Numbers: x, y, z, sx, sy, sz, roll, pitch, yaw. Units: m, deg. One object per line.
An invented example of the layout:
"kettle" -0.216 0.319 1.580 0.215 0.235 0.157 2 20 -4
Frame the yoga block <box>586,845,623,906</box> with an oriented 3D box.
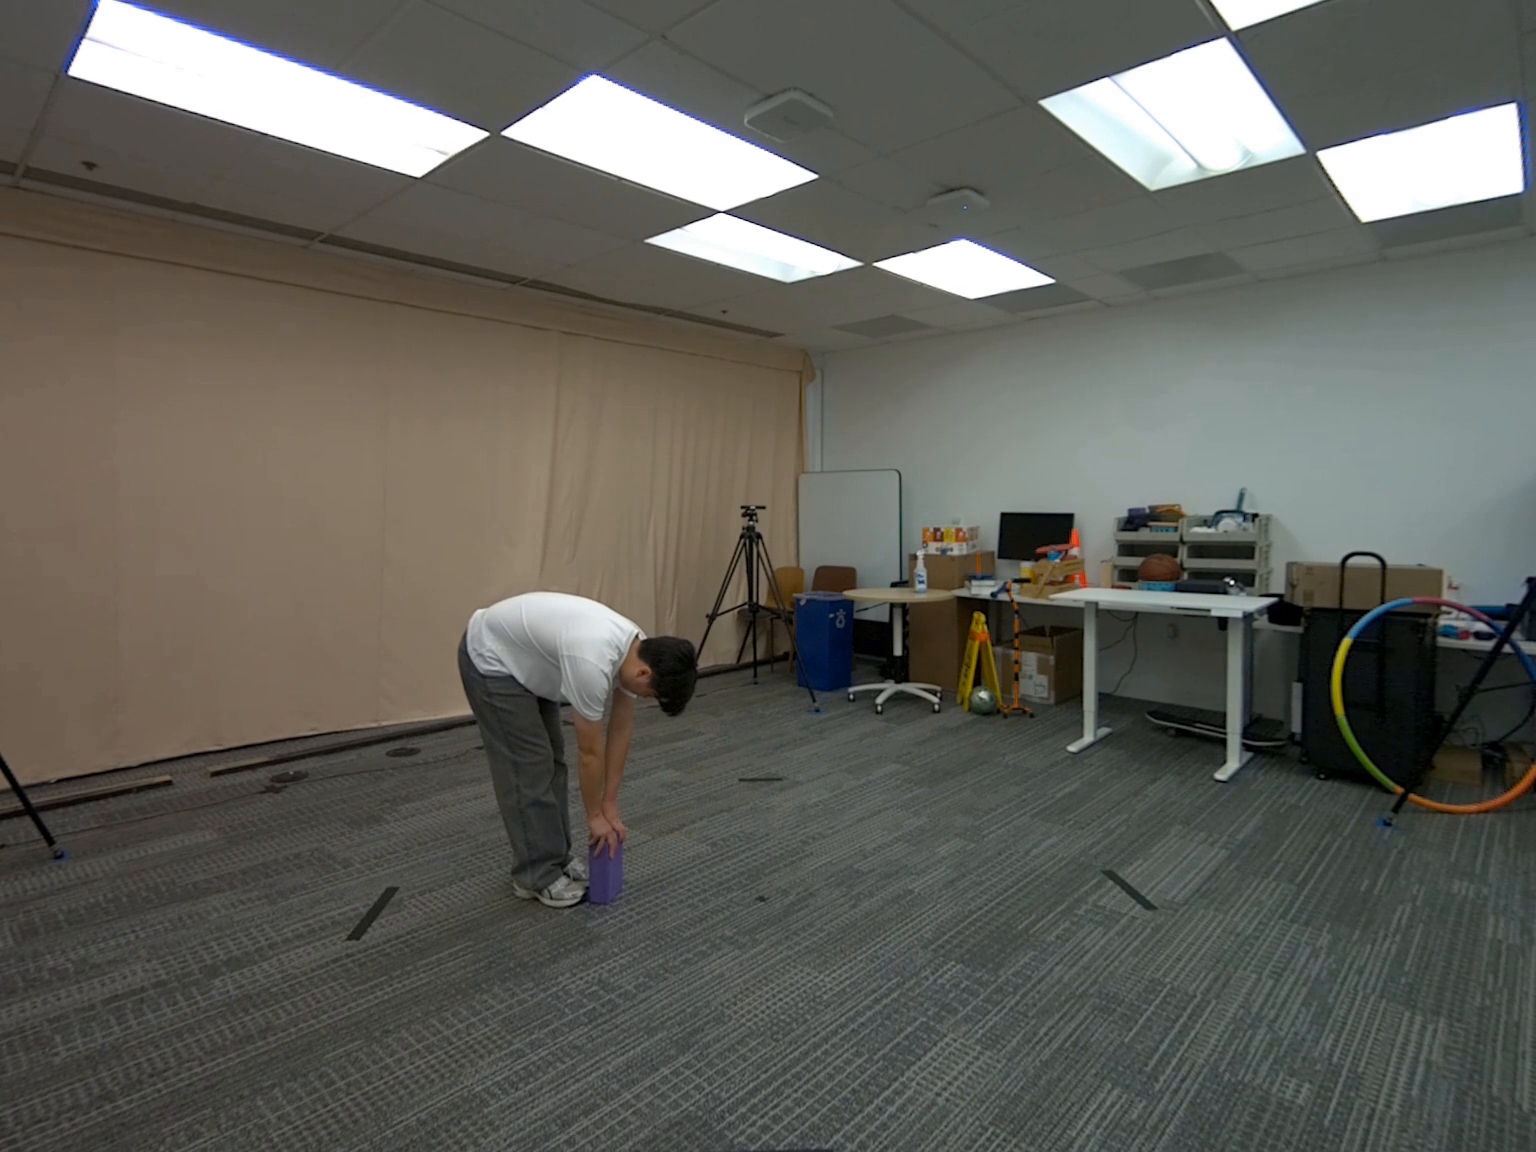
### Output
"yoga block" -0.572 1.045 2.999 0.077 0.228 0.148 -1 5 6
